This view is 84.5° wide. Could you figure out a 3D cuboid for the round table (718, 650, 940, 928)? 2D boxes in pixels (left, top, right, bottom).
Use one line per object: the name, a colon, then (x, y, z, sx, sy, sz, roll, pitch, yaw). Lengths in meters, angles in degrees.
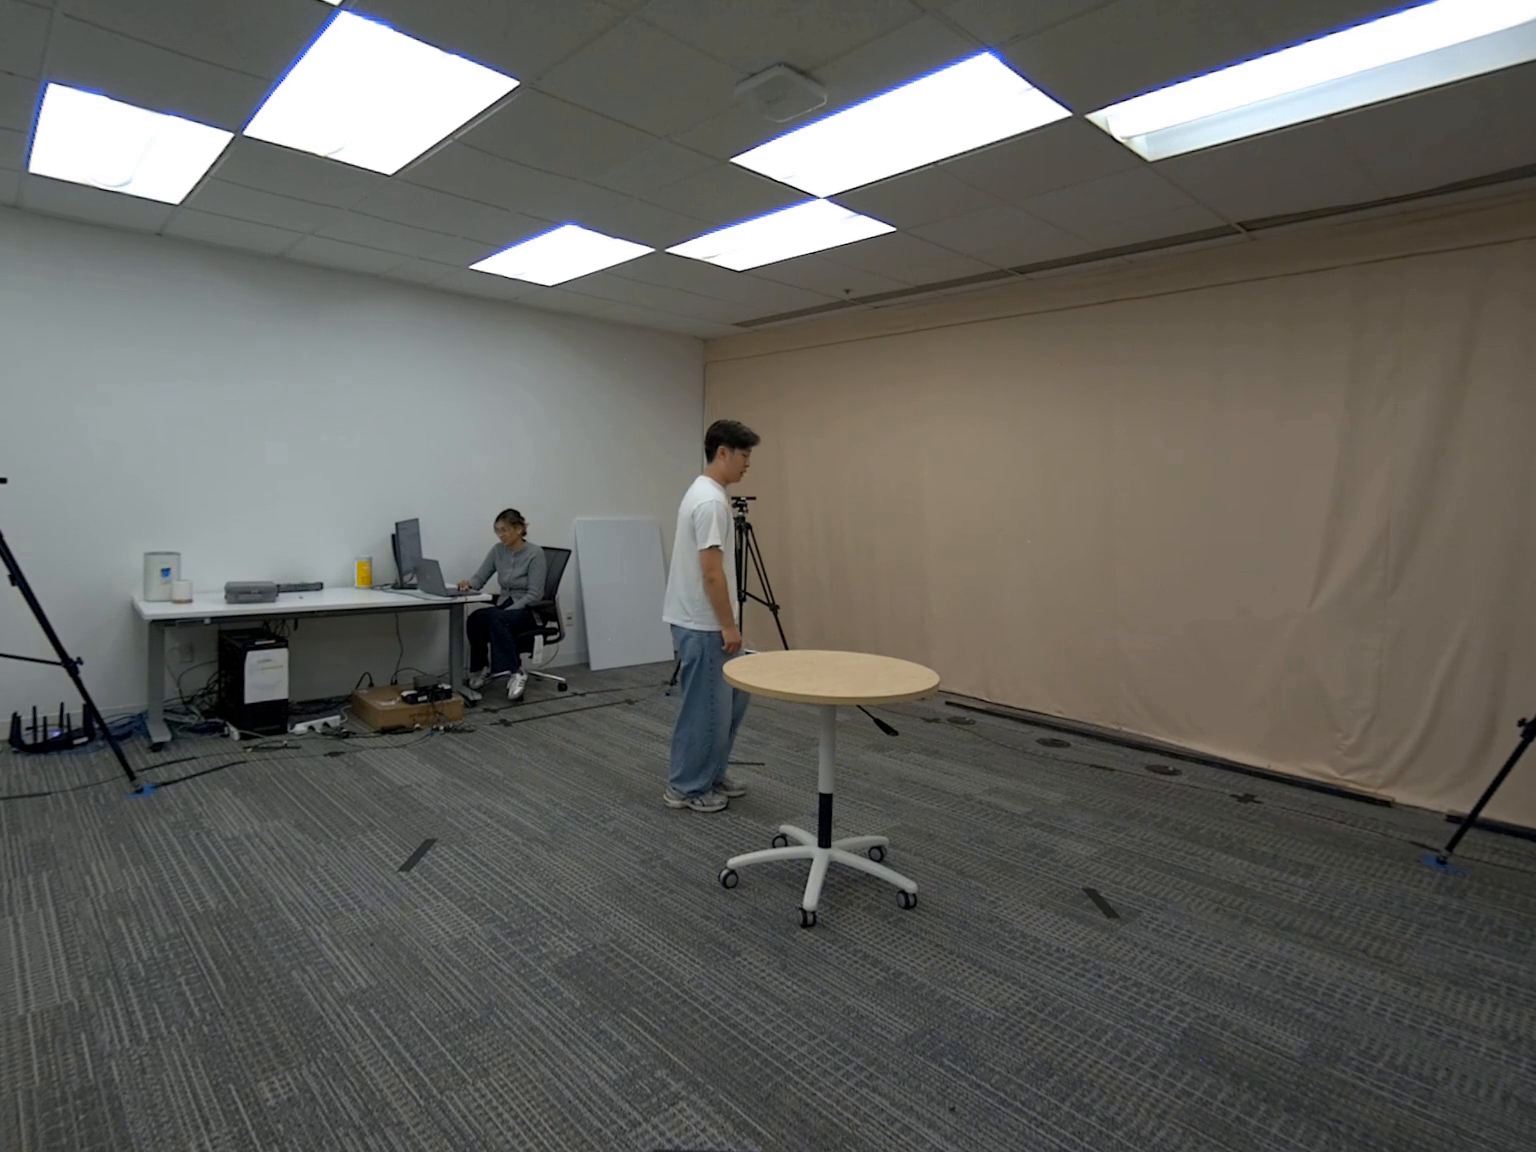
round table: (0.203, 0.732, 3.027, 0.763, 0.792, 0.767, 2, 4, -1)
